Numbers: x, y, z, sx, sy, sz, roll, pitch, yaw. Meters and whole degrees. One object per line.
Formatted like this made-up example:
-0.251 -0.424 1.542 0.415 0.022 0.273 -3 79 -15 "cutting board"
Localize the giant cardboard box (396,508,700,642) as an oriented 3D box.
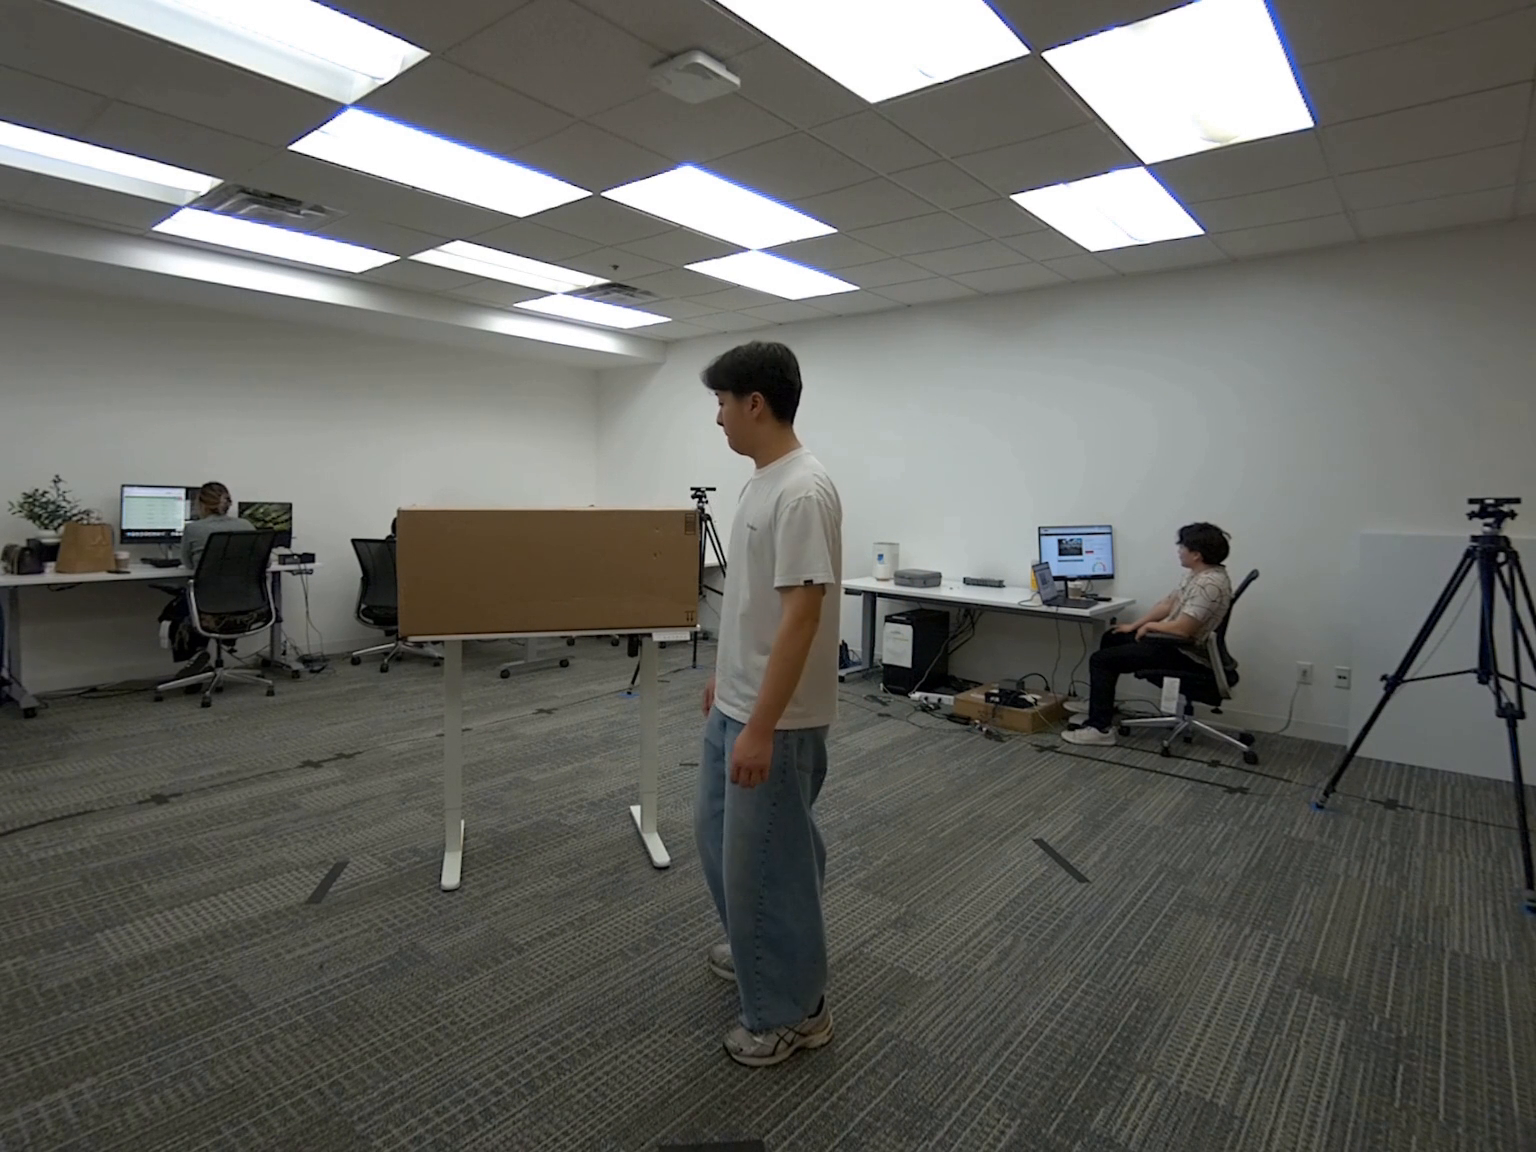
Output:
-0.833 -0.045 3.196 1.009 0.424 0.590 -1 6 -16 "giant cardboard box"
